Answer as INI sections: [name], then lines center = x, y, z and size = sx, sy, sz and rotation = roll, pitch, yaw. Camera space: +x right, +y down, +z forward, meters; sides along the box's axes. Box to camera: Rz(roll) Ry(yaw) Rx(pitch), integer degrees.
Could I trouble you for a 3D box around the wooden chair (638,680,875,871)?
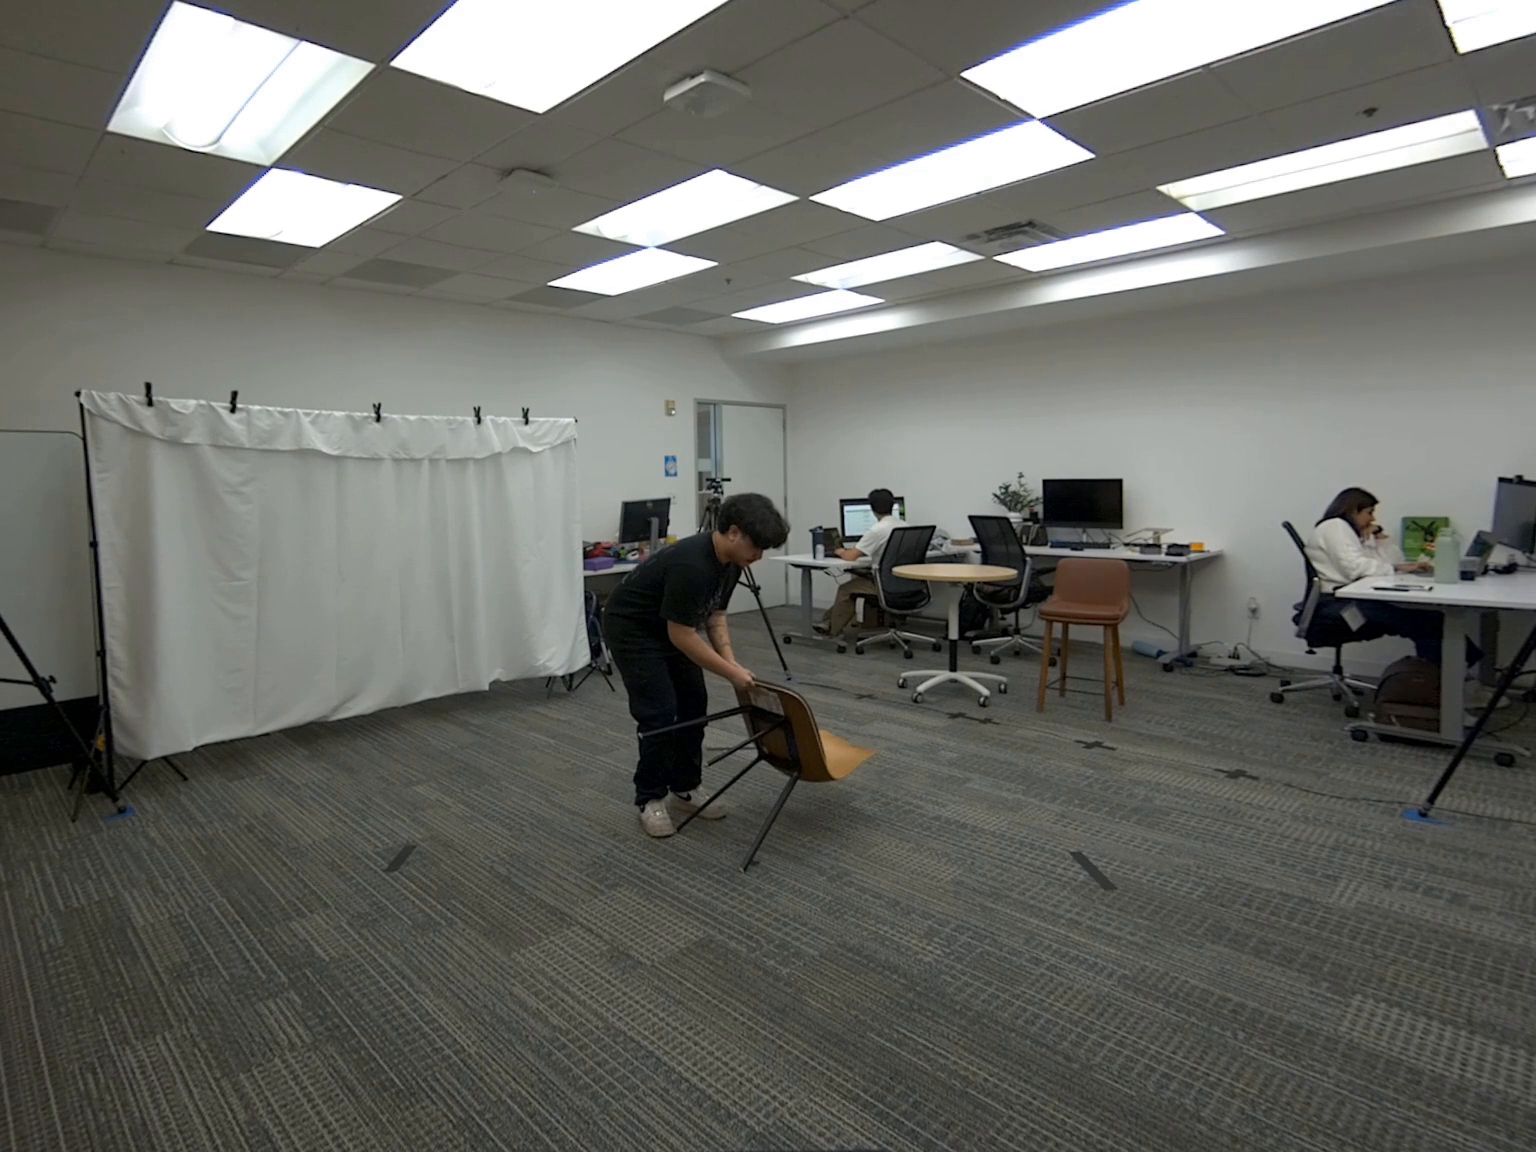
[wooden chair]
center = 0.023, 0.650, 3.362
size = 0.864, 0.516, 0.492
rotation = -24, 16, -34
